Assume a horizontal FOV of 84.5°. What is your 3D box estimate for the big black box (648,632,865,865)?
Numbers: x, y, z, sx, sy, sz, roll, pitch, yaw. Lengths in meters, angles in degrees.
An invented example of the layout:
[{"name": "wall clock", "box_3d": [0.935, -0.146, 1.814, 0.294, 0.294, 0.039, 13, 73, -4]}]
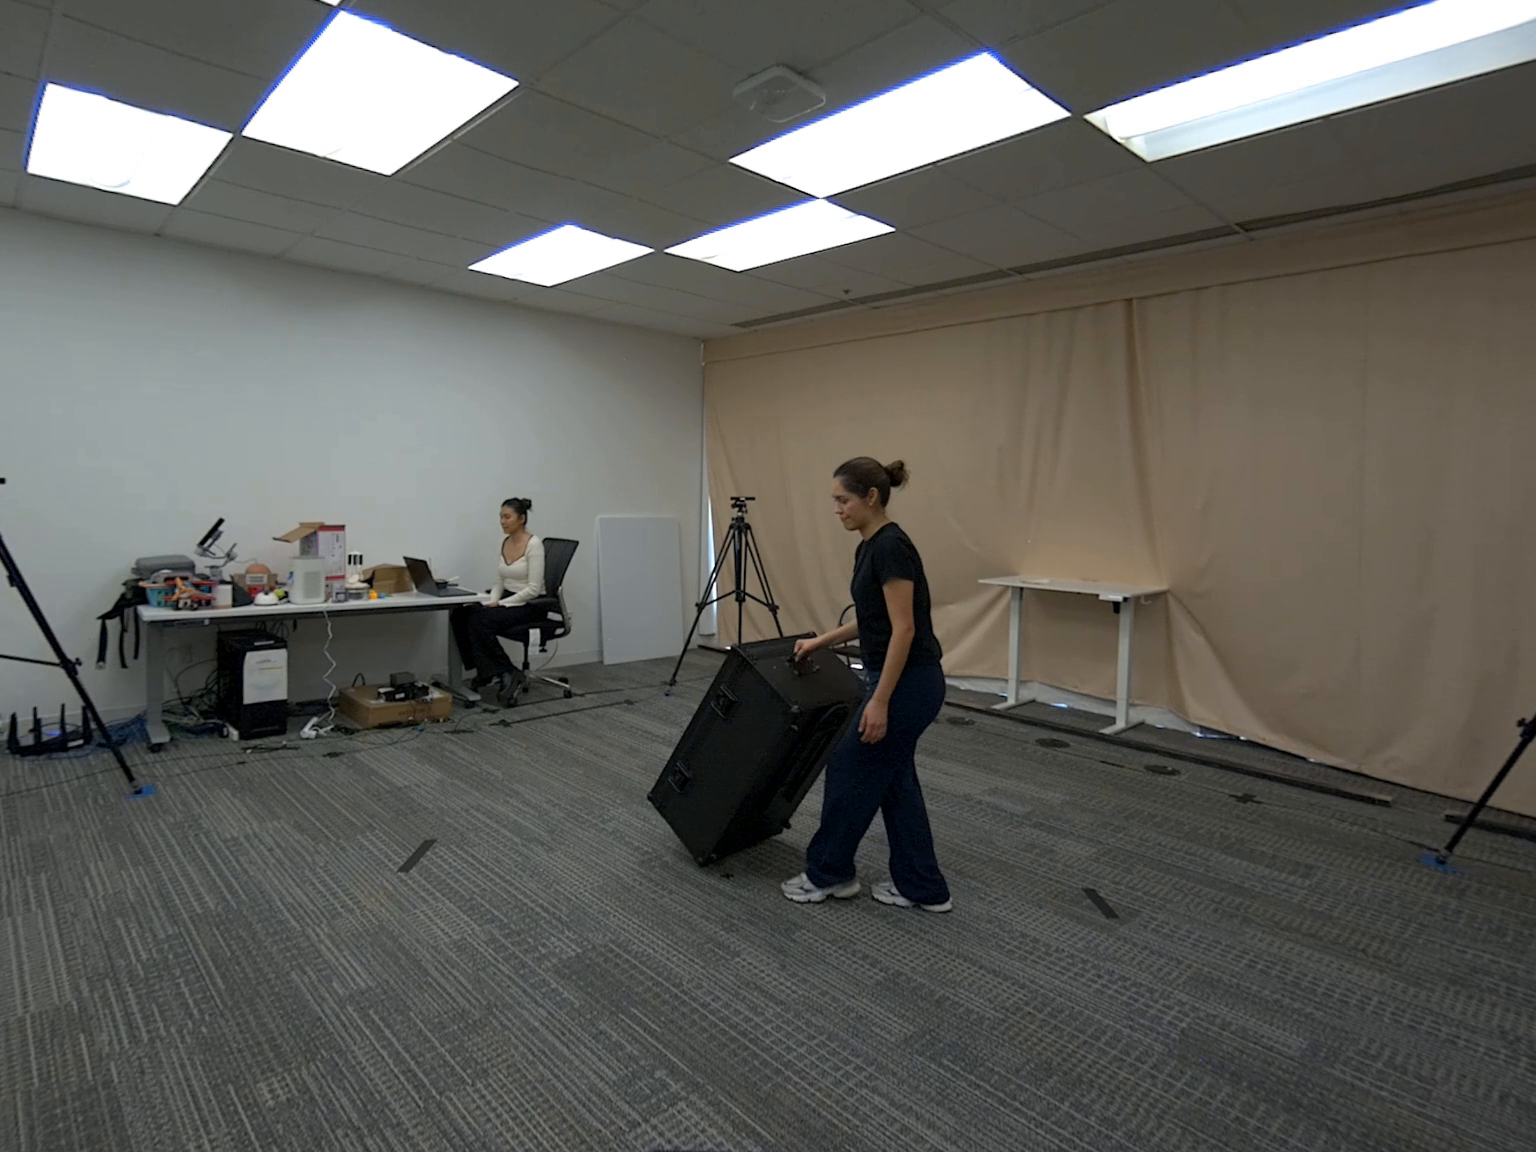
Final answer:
[{"name": "big black box", "box_3d": [-0.045, 0.686, 3.213, 0.509, 0.856, 0.407, -3, 40, -50]}]
